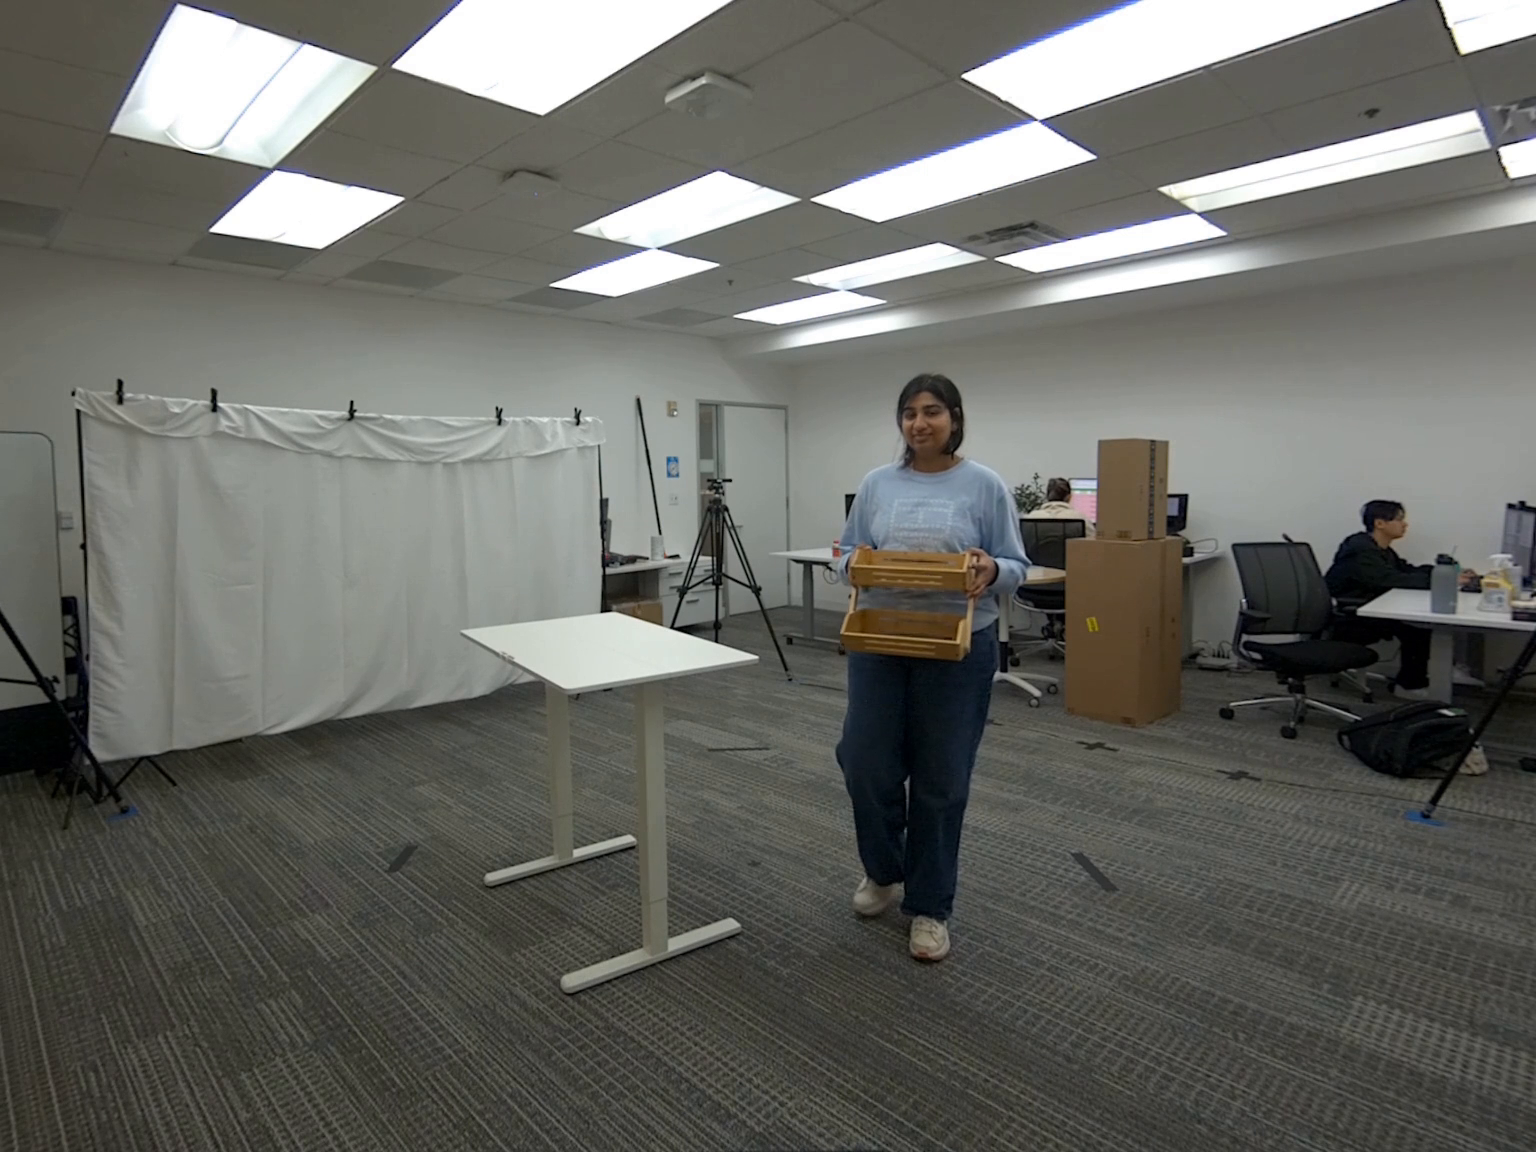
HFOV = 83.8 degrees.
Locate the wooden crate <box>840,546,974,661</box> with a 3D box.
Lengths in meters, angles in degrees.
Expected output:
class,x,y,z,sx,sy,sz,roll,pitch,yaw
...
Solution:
class,x,y,z,sx,sy,sz,roll,pitch,yaw
wooden crate,0.394,0.070,2.294,0.330,0.273,0.297,5,3,16
